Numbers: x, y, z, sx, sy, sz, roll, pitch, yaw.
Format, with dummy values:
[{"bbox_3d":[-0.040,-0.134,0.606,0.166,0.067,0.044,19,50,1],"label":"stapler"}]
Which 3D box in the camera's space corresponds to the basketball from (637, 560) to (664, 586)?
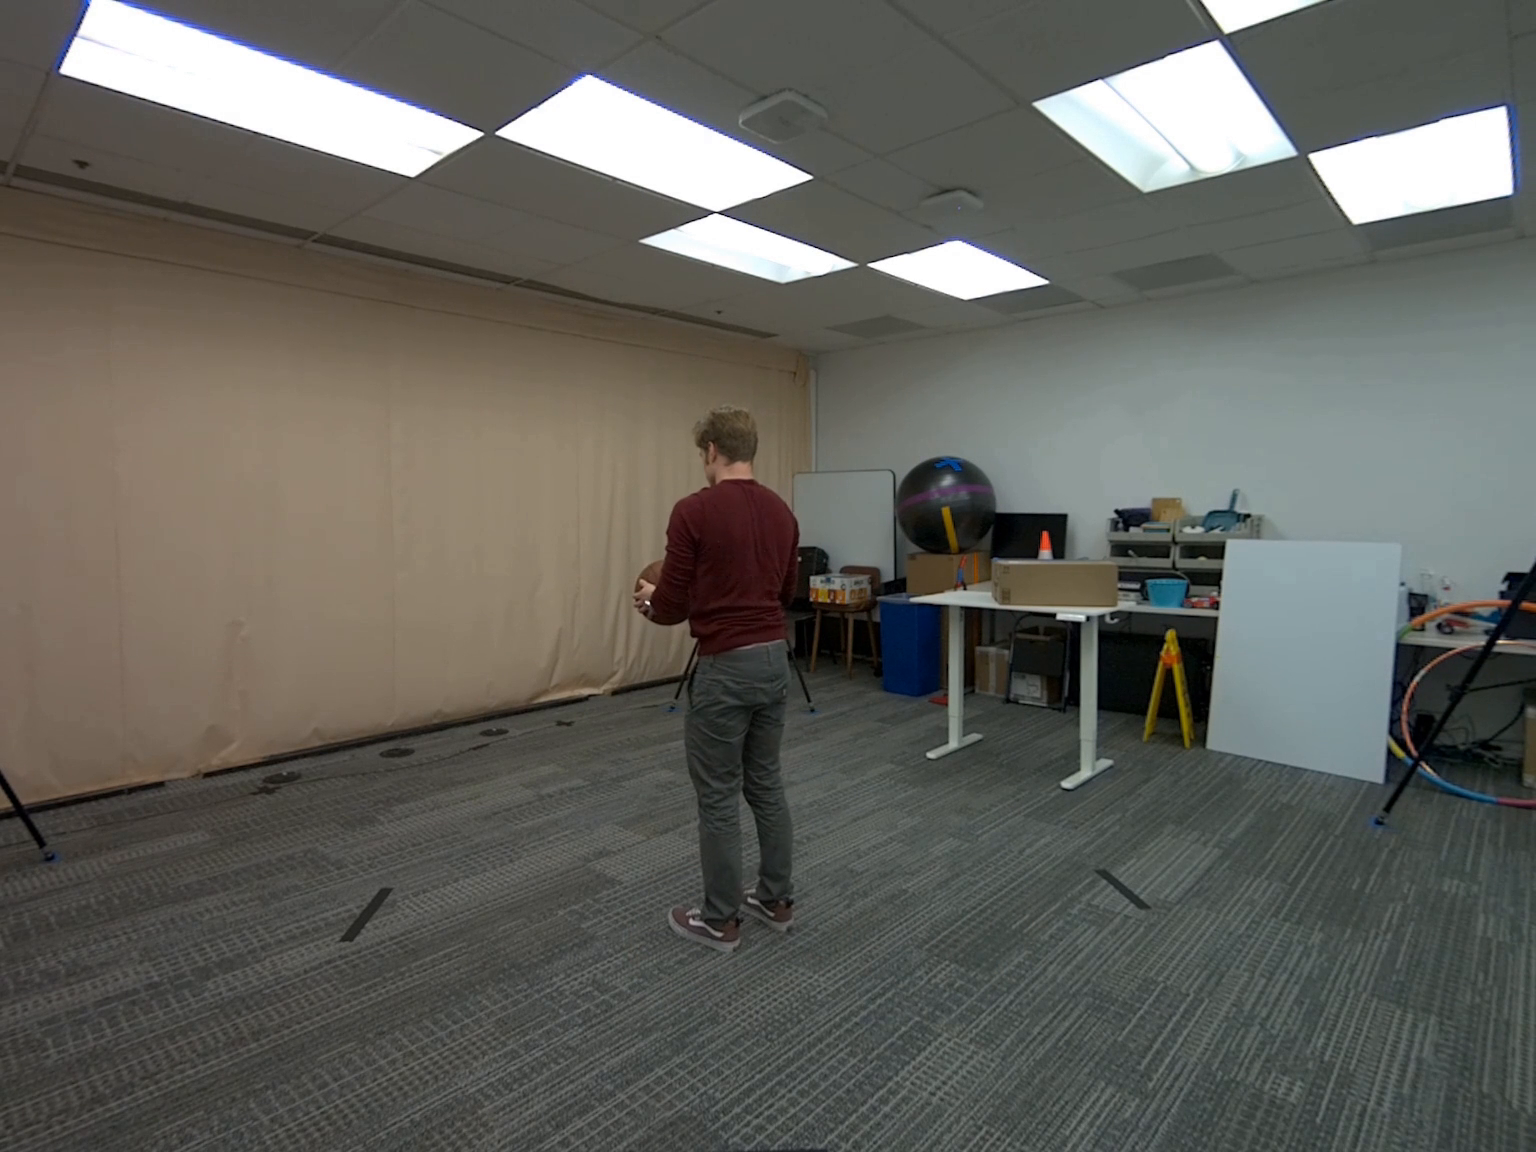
[{"bbox_3d":[-0.371,0.058,3.033,0.236,0.235,0.237,0,4,-2],"label":"basketball"}]
